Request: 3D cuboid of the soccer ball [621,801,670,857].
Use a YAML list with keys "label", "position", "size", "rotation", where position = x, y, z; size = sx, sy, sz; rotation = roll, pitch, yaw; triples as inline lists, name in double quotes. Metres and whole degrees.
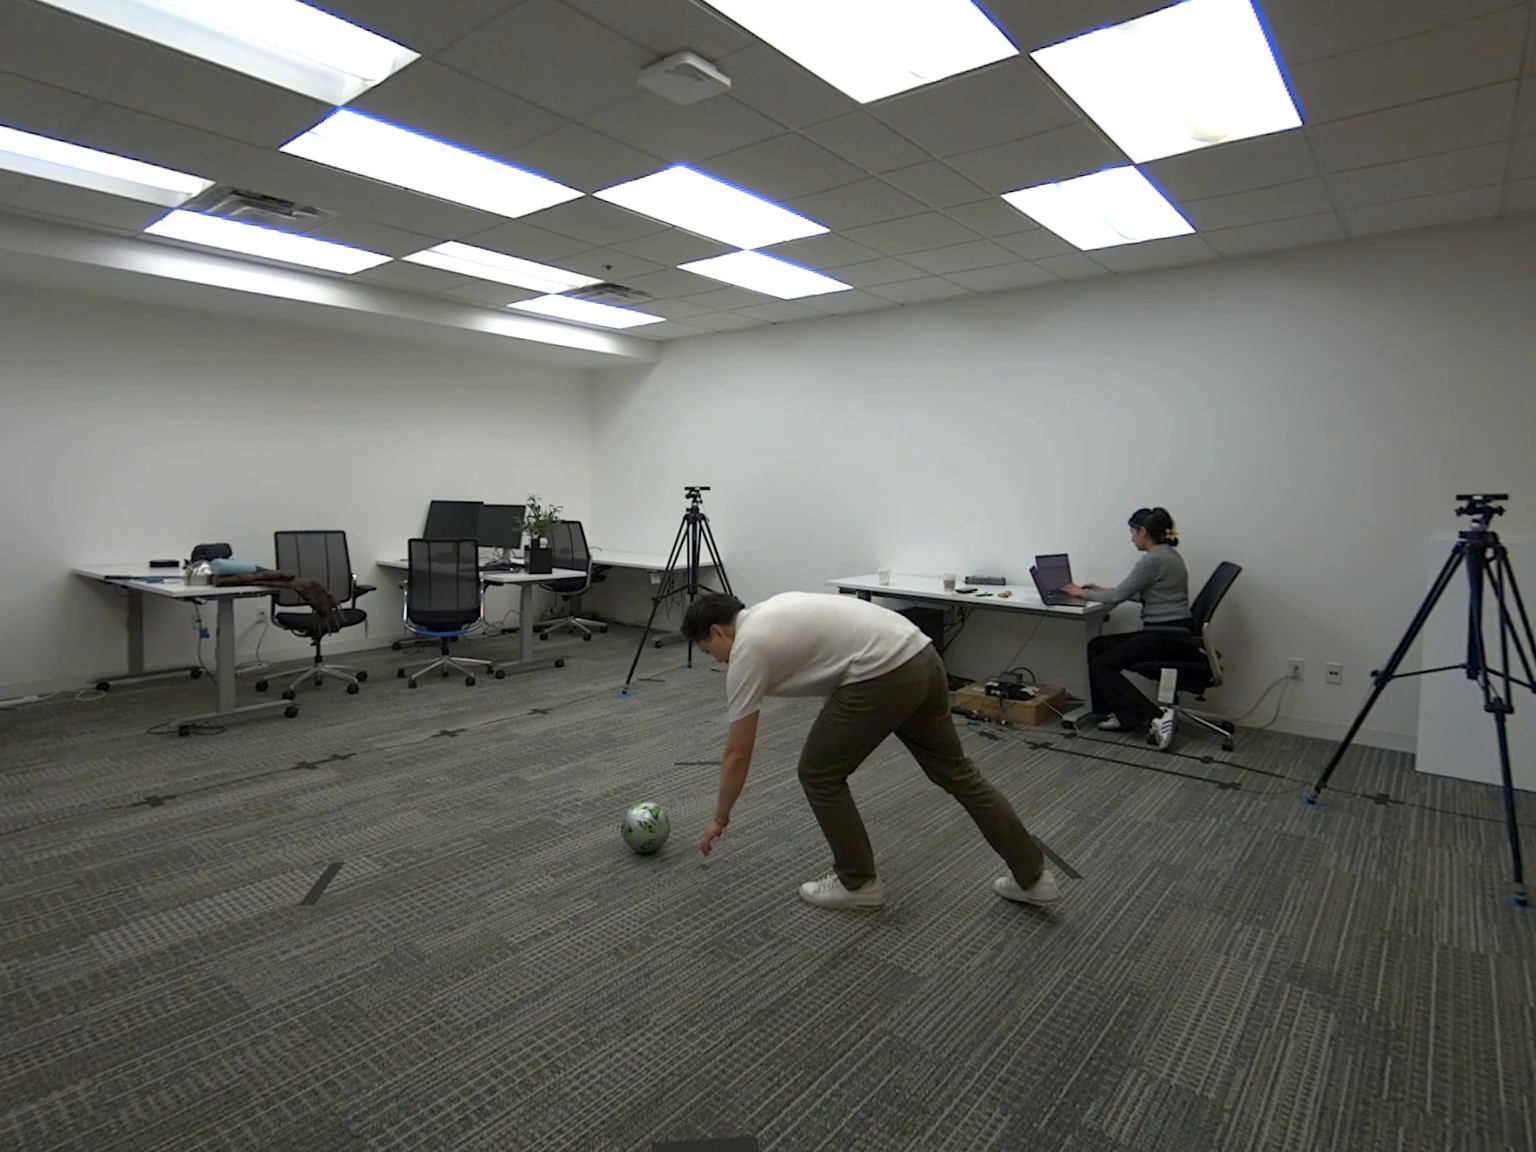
- label: "soccer ball"
  position: [-0.476, 0.950, 3.237]
  size: [0.187, 0.187, 0.188]
  rotation: [1, 4, -2]
